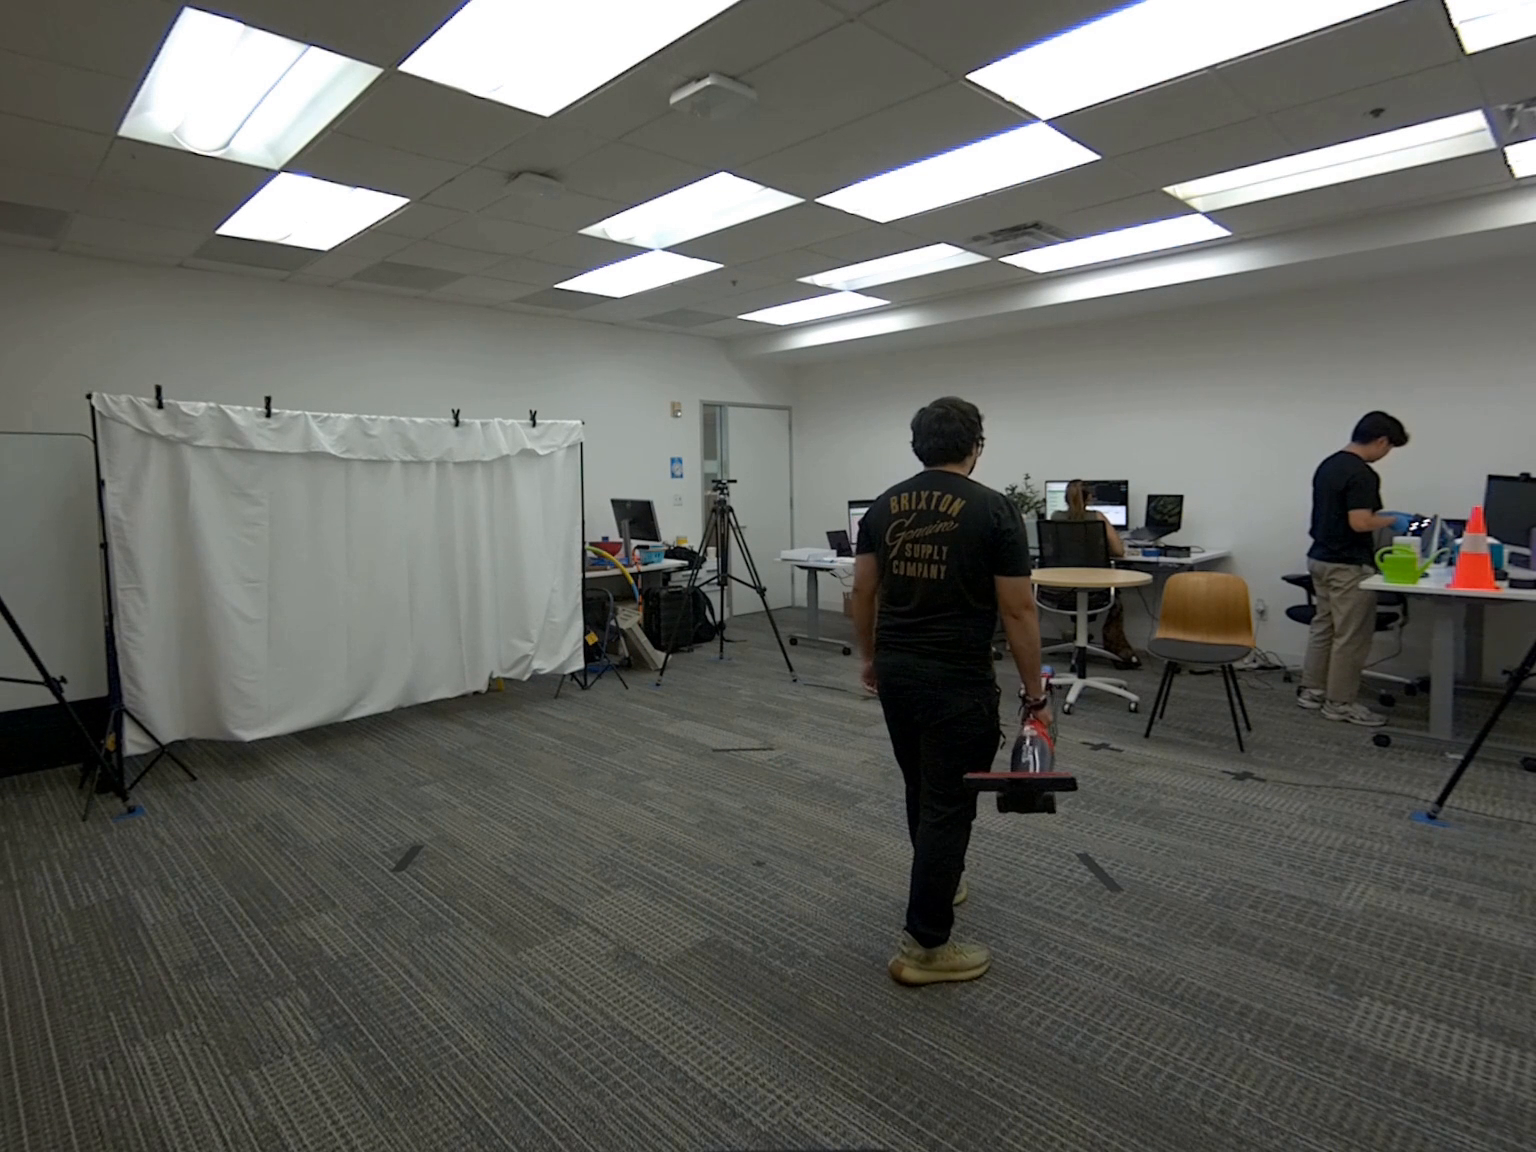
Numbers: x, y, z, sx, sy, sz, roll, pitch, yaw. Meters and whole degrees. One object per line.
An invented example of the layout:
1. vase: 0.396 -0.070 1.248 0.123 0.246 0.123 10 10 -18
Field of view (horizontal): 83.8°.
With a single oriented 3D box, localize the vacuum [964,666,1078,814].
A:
1. vacuum: 0.793 0.432 2.501 0.257 0.143 1.037 -8 8 22
